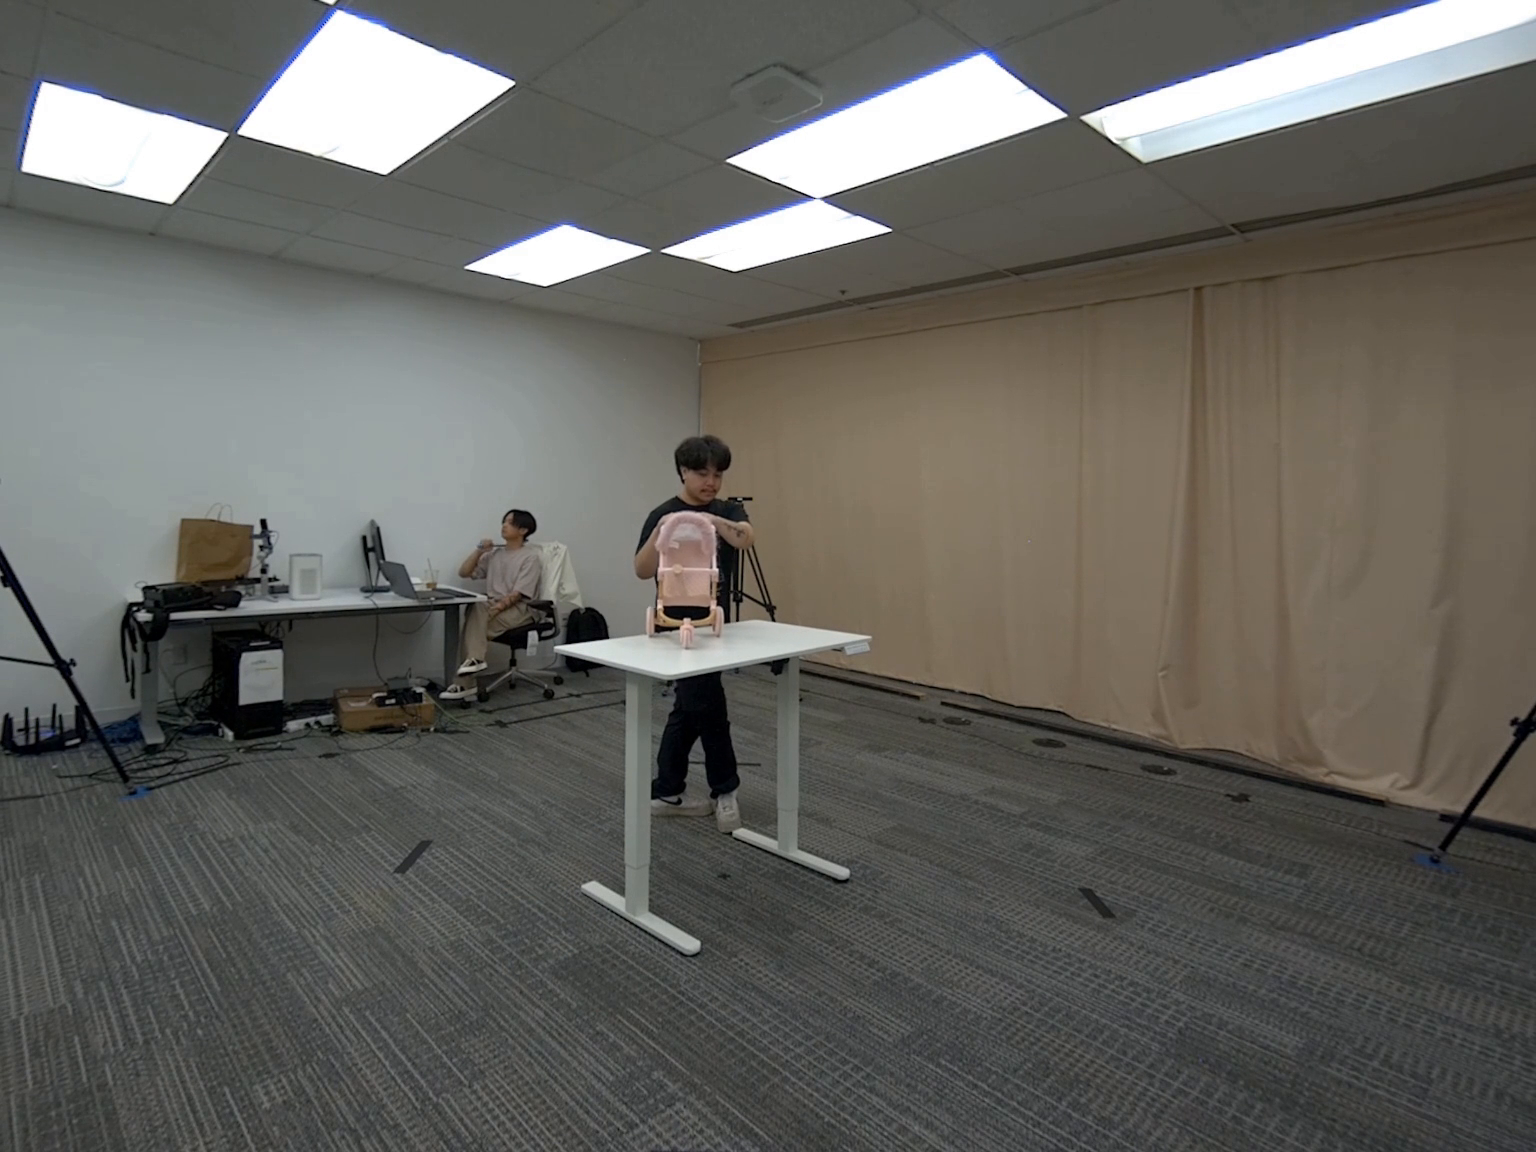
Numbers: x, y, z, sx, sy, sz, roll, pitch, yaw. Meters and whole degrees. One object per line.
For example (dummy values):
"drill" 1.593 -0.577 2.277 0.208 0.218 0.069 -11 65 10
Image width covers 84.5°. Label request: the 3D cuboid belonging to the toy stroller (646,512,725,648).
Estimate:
"toy stroller" -0.308 0.008 3.024 0.281 0.540 0.339 1 -12 -3
